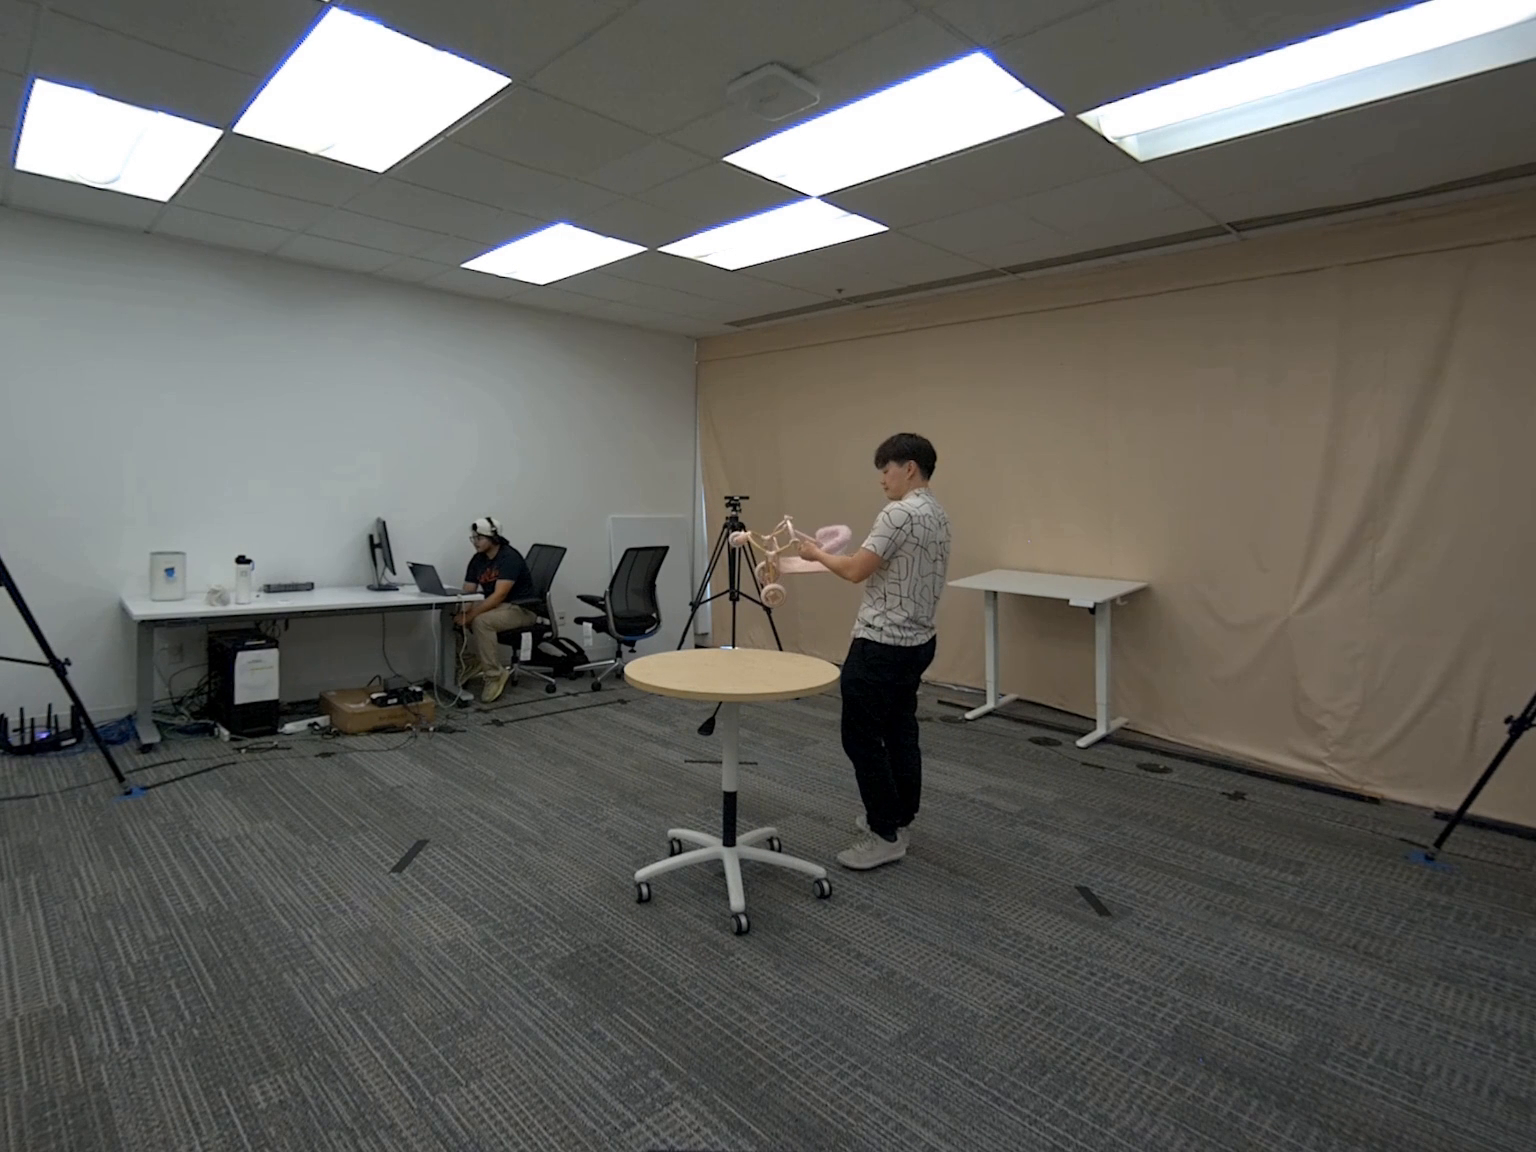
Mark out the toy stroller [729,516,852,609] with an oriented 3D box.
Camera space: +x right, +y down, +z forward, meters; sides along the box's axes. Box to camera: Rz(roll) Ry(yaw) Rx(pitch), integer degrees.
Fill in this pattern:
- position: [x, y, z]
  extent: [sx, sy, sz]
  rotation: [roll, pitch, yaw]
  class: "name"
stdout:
- position: [0.114, -0.100, 3.586]
  extent: [0.536, 0.336, 0.285]
  rotation: [-15, 17, 3]
  class: "toy stroller"
